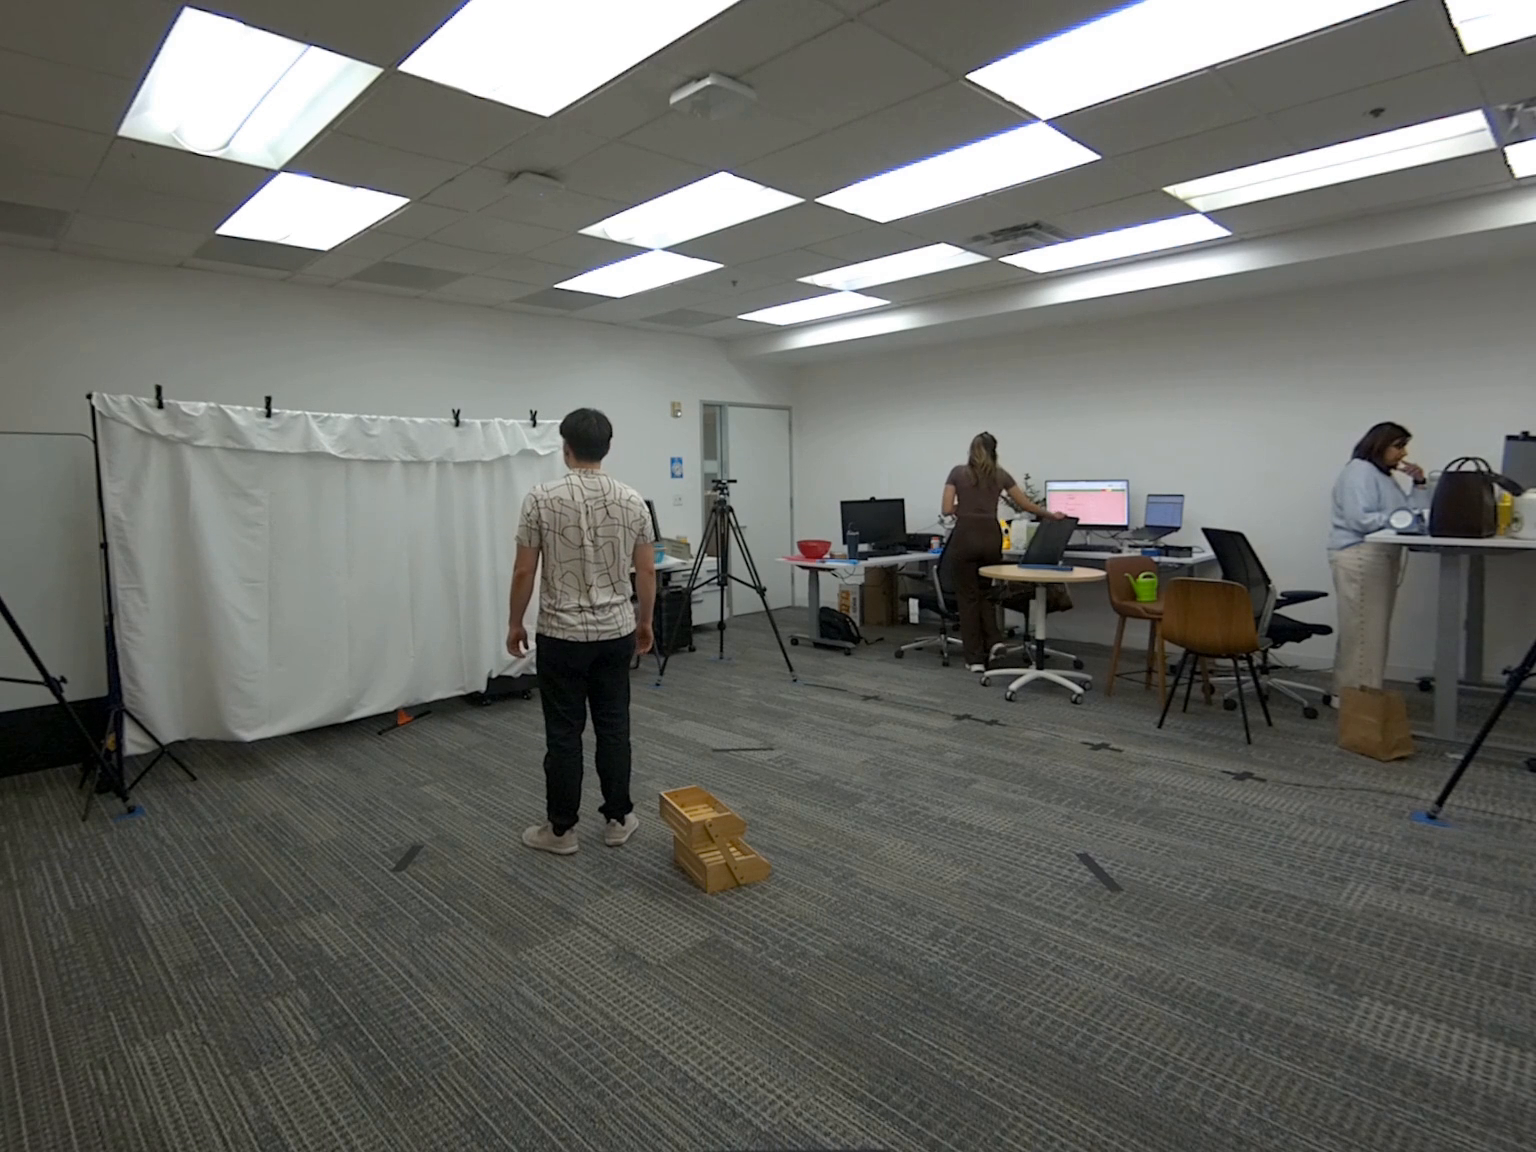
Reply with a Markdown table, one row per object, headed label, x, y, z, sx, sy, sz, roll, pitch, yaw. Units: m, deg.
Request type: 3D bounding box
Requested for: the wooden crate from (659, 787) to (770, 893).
| label | x | y | z | sx | sy | sz | roll | pitch | yaw |
| --- | --- | --- | --- | --- | --- | --- | --- | --- | --- |
| wooden crate | -0.186 | 0.920 | 3.059 | 0.295 | 0.272 | 0.333 | -4 | 6 | -27 |
